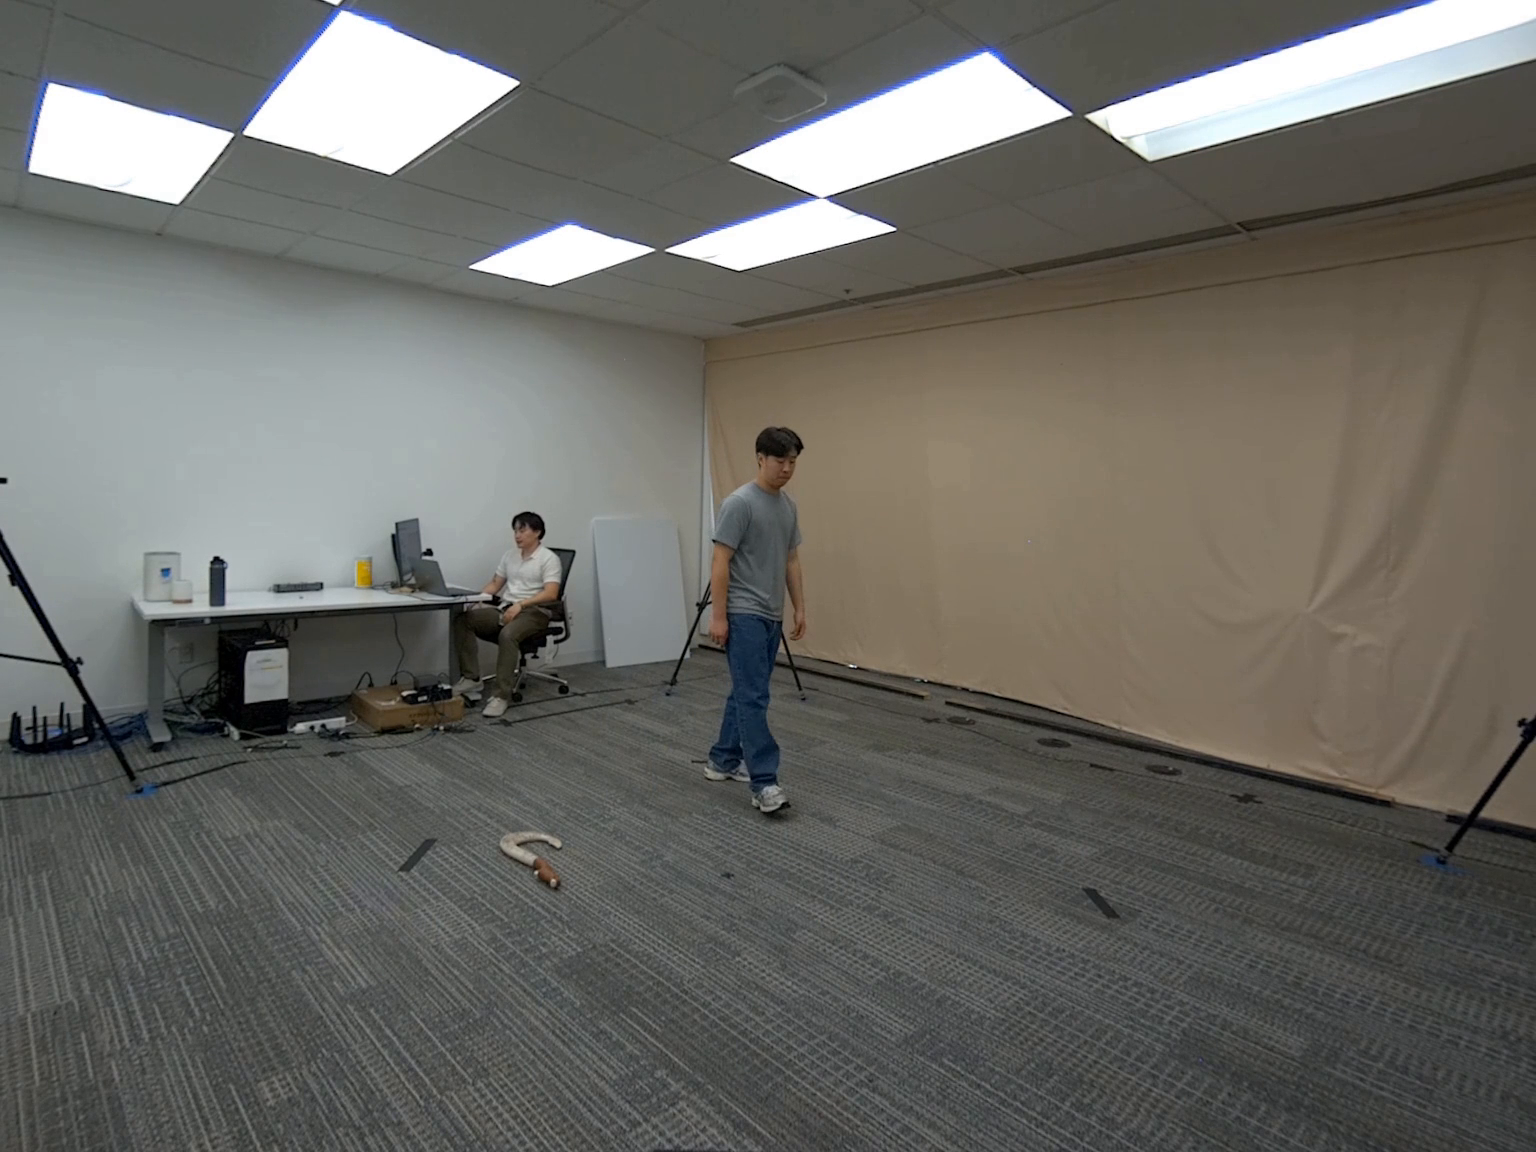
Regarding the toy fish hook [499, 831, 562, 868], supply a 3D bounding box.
[{"bbox_3d":[-0.854,1.059,3.182,0.220,0.048,0.519,-3,7,-35],"label":"toy fish hook"}]
